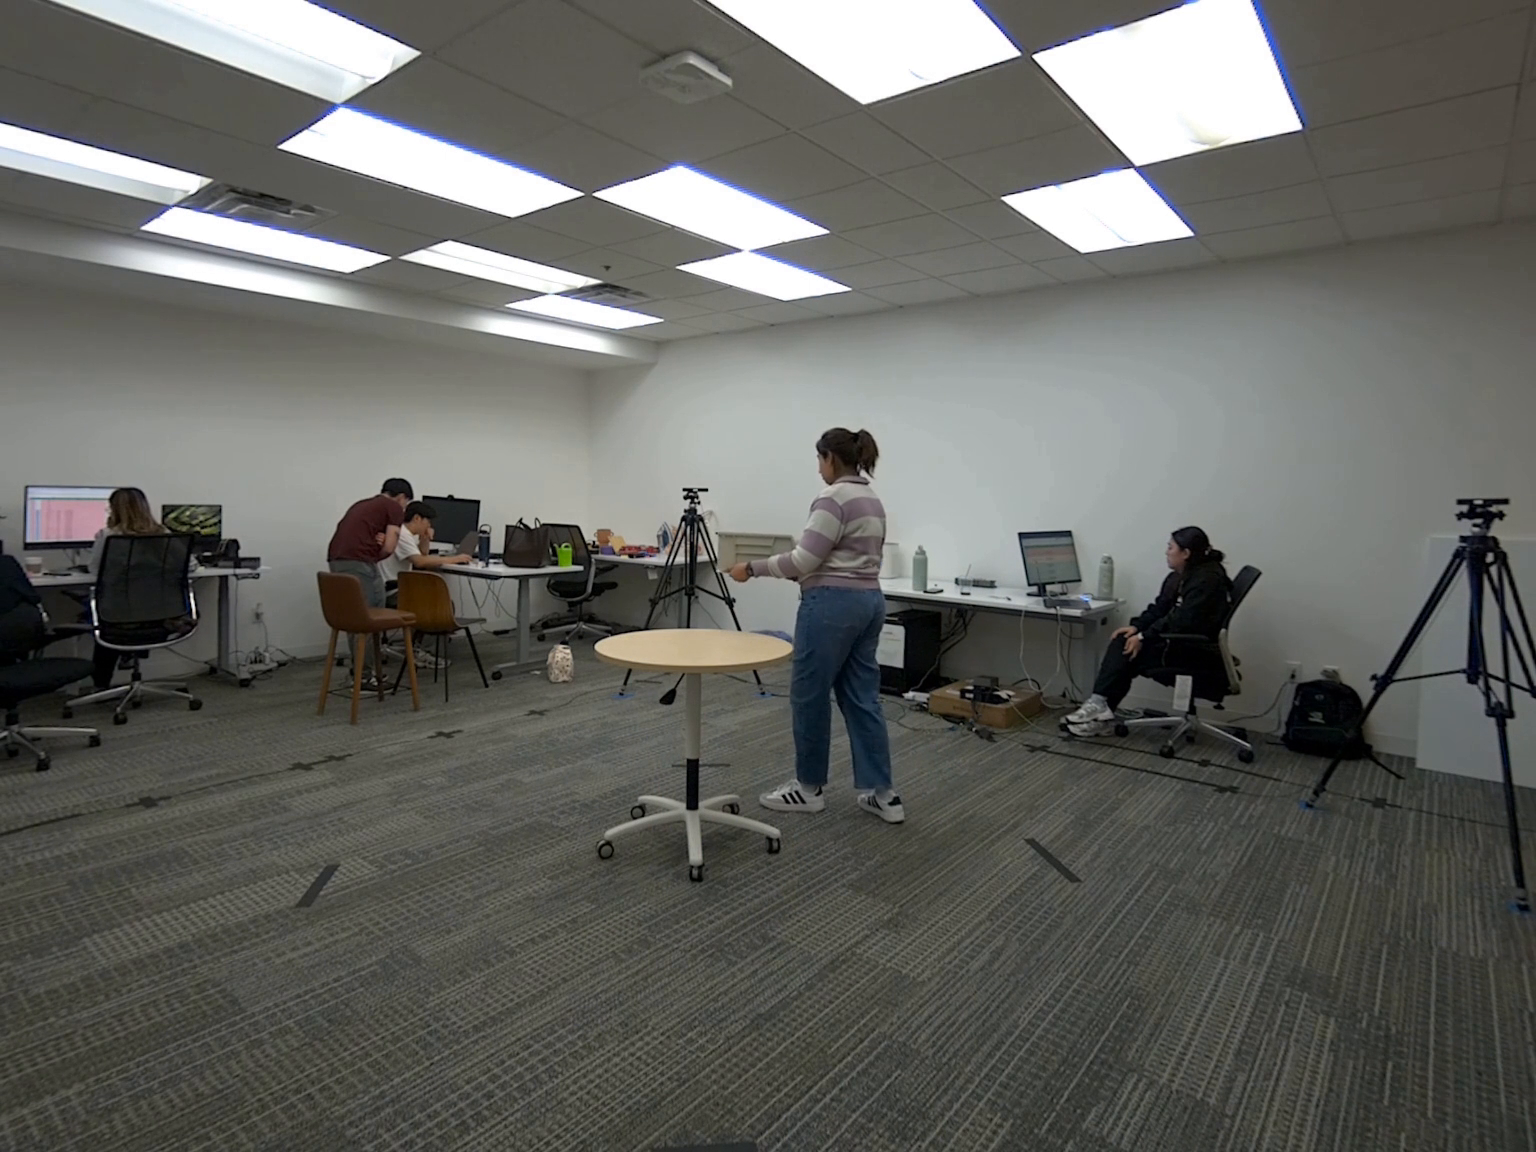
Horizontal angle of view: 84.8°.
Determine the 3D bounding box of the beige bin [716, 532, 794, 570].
[{"bbox_3d":[-0.013,-0.095,3.869,0.383,0.189,0.416,2,1,13],"label":"beige bin"}]
